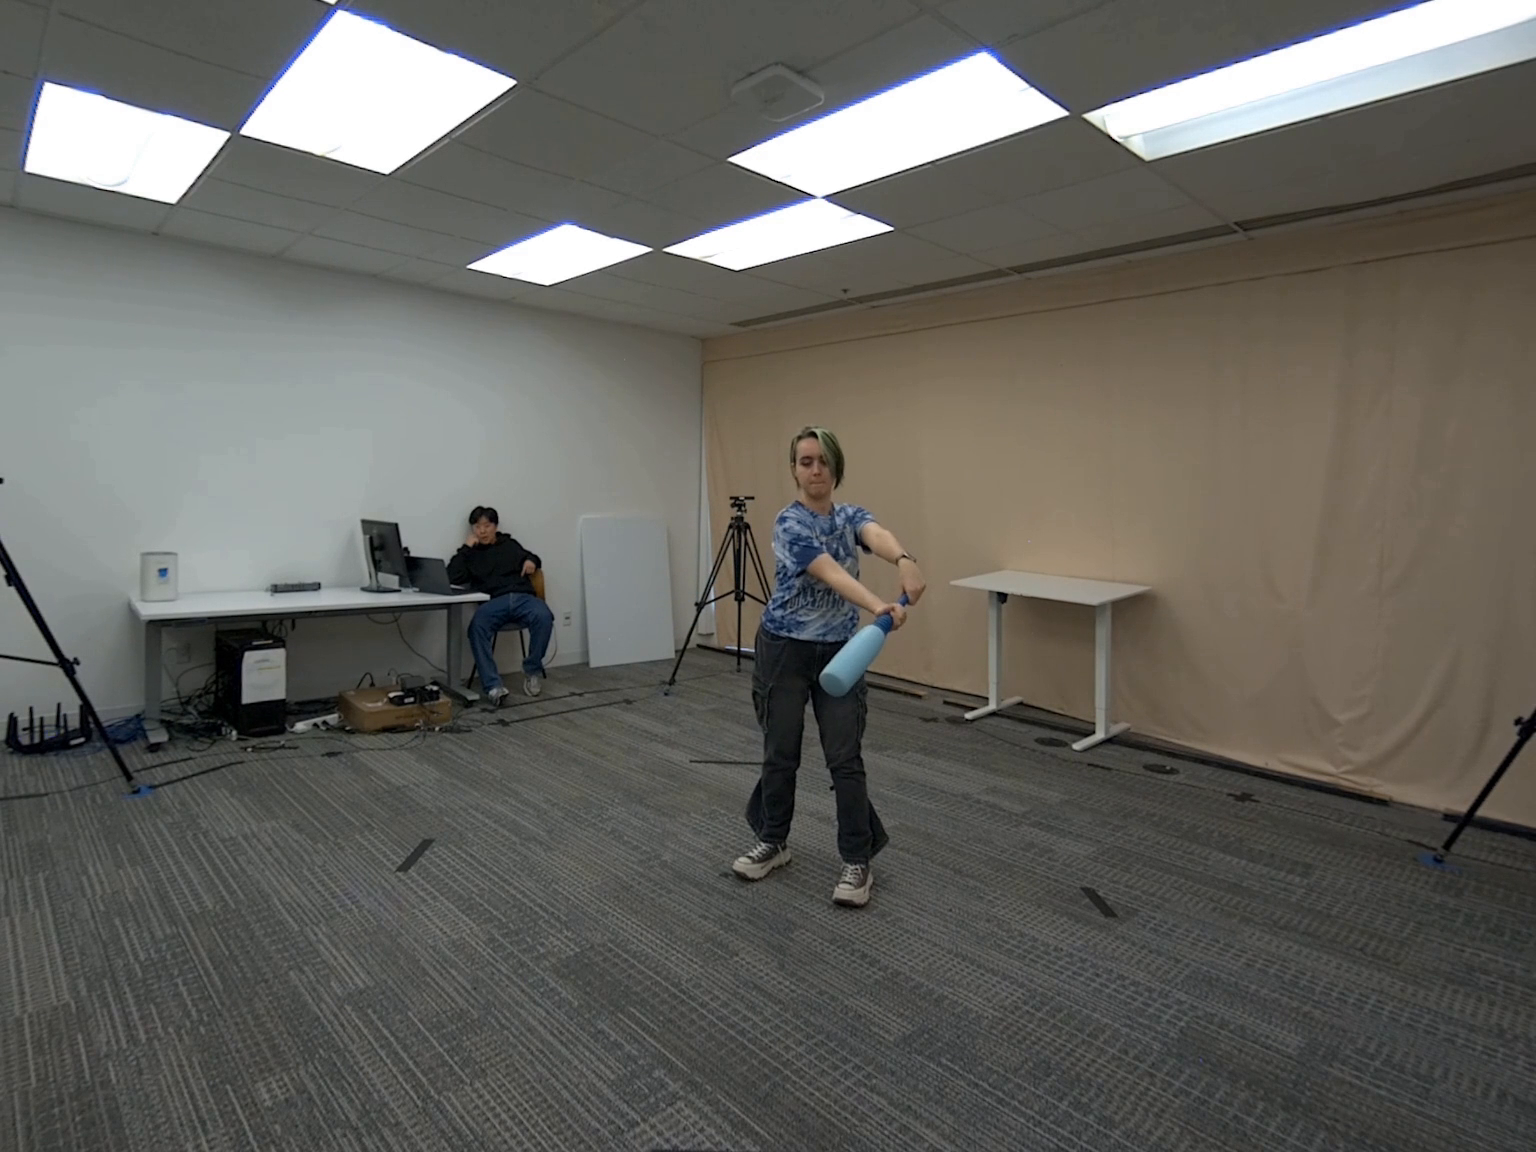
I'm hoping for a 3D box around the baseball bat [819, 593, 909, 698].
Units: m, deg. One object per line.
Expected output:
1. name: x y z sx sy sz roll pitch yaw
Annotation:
1. baseball bat: 0.304 0.166 2.422 0.091 0.087 0.540 5 31 40
